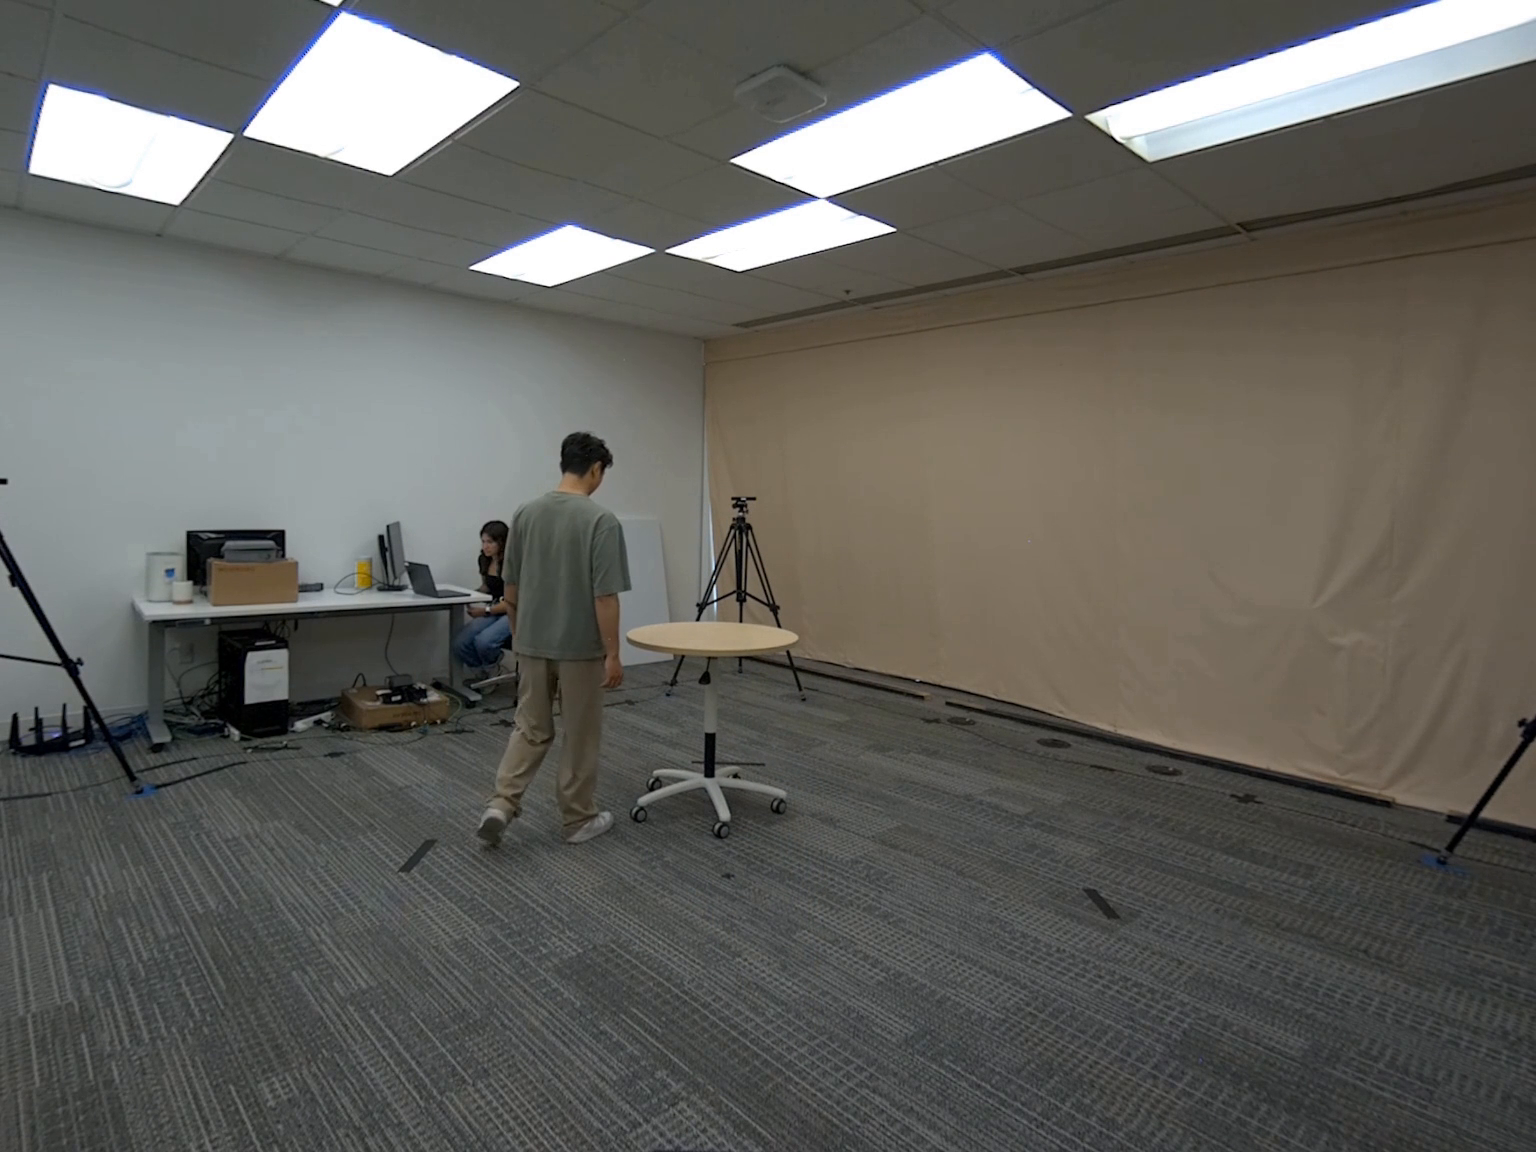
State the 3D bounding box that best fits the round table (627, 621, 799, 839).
[{"bbox_3d":[-0.267,0.653,3.759,0.784,0.785,0.787,2,3,-1],"label":"round table"}]
